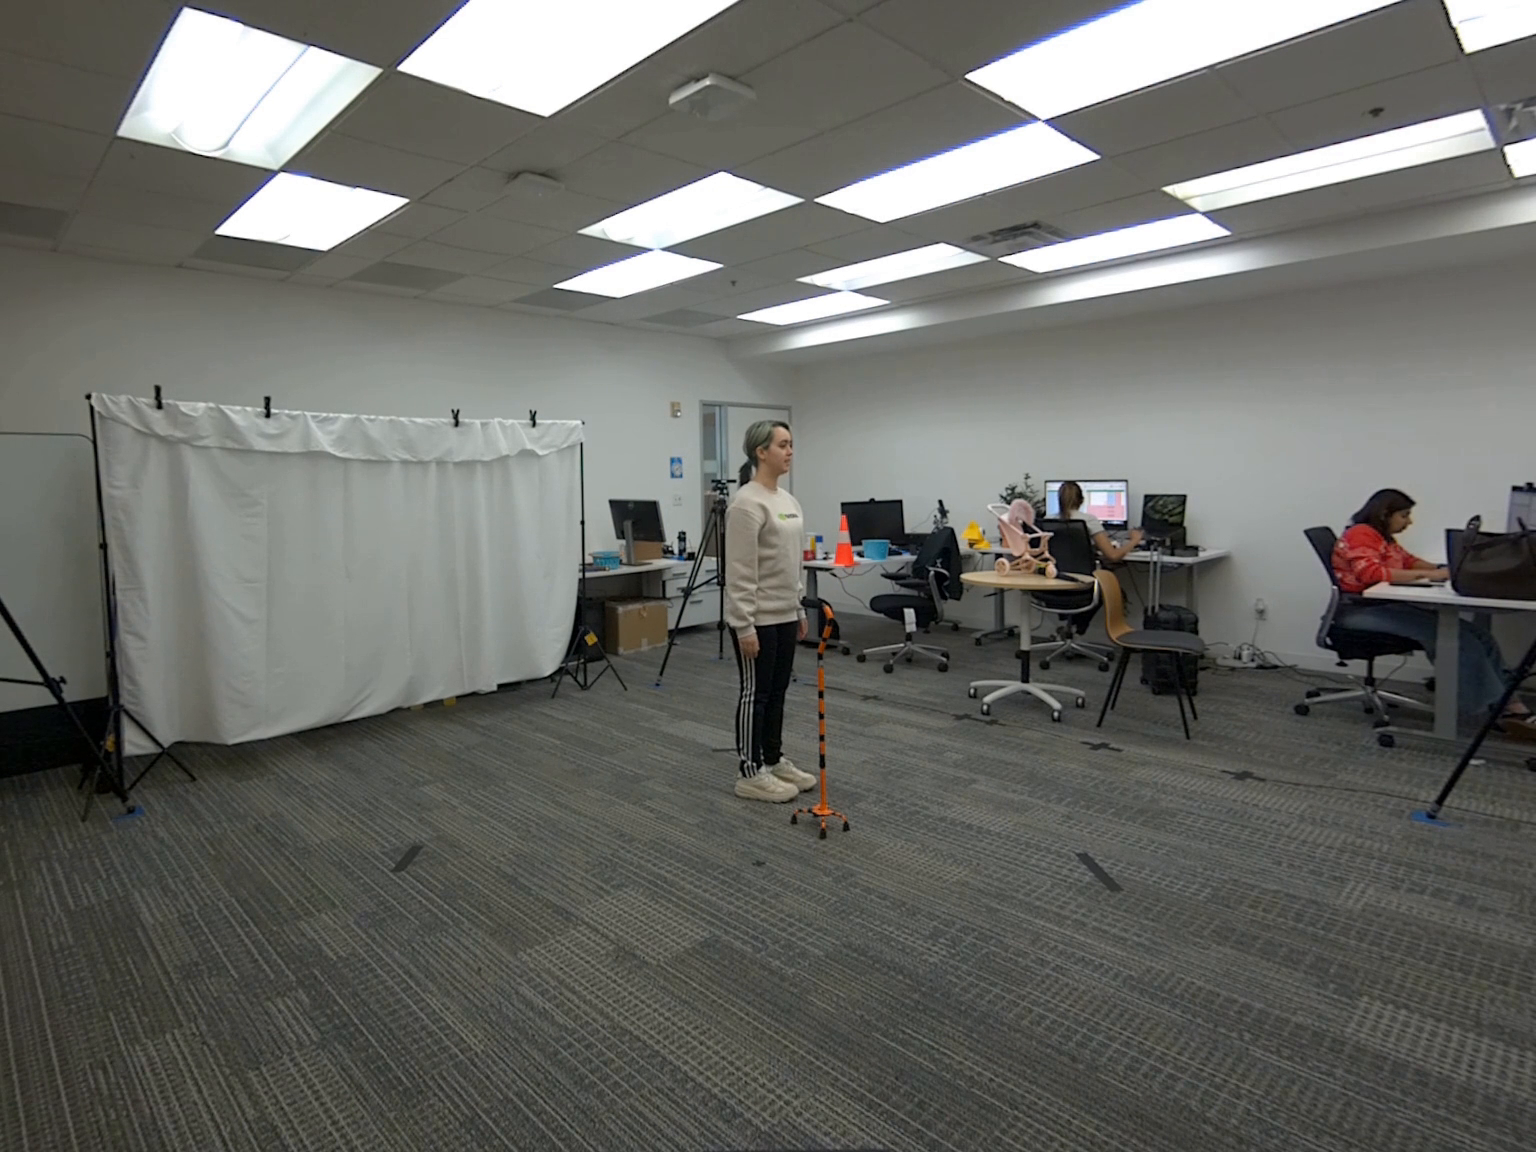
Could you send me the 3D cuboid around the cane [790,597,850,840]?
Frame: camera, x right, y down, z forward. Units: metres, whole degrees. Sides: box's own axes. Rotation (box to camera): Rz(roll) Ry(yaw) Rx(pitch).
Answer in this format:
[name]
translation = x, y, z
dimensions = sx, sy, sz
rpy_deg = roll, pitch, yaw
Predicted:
[cane]
translation = 0.208, 0.556, 3.400
dimensions = 0.148, 0.903, 0.213
rpy_deg = -4, 7, -35
